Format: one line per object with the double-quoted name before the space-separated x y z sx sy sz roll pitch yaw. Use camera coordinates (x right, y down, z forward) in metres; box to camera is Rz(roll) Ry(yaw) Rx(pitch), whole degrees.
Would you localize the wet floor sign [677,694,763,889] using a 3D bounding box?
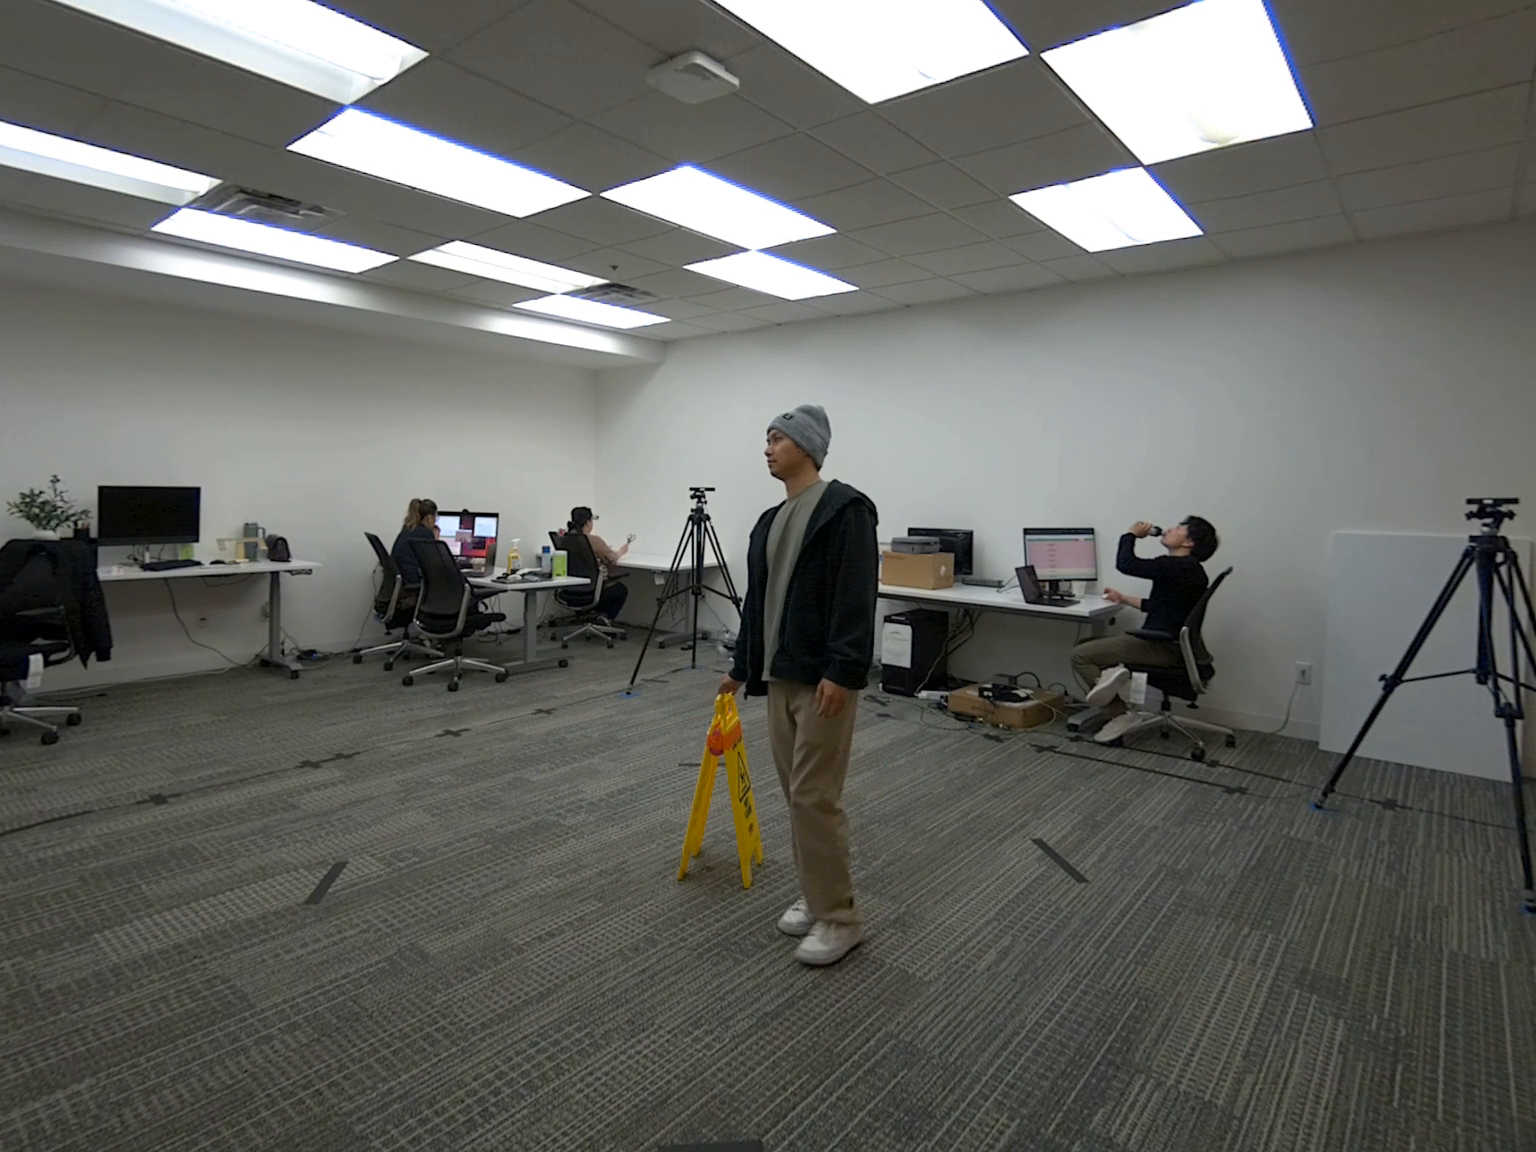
"wet floor sign" -0.168 0.746 3.094 0.294 0.644 0.279 2 4 11
